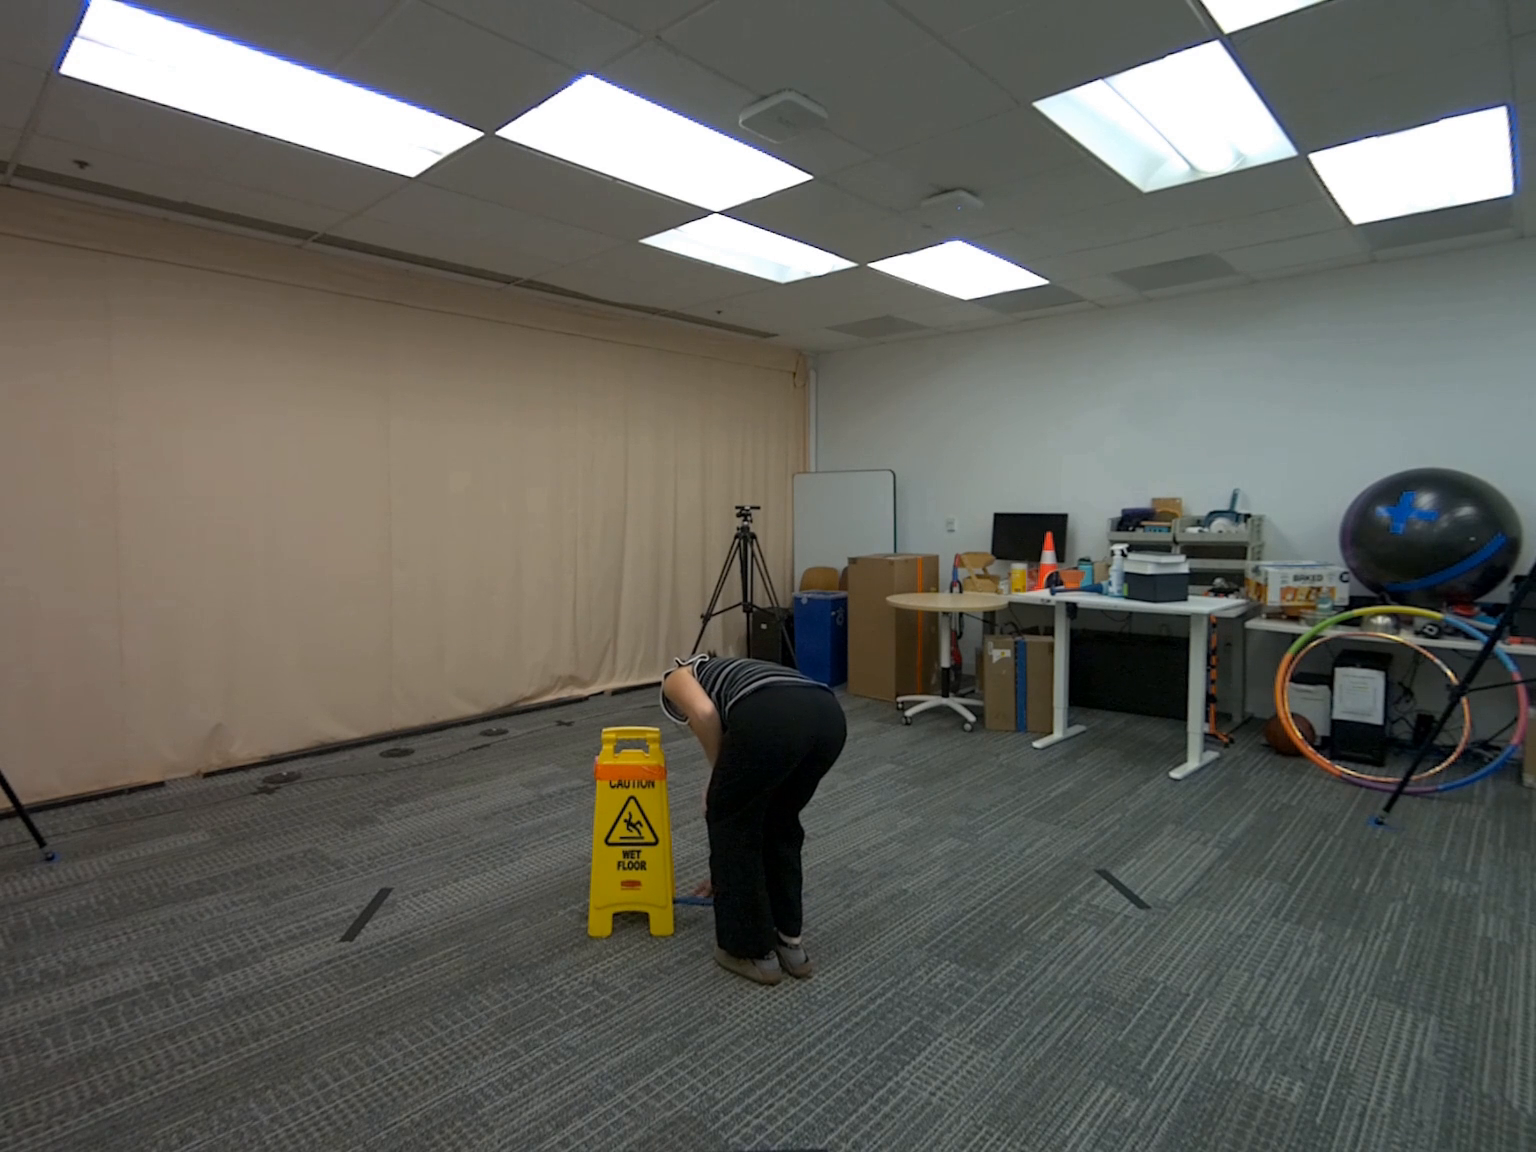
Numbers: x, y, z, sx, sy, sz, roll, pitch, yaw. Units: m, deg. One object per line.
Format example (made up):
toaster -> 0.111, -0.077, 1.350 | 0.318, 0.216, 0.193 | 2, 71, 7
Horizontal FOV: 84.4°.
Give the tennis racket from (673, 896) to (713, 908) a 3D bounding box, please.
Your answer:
tennis racket -> -0.378, 1.102, 2.840 | 0.437, 0.032, 0.209 | -4, -25, 9
